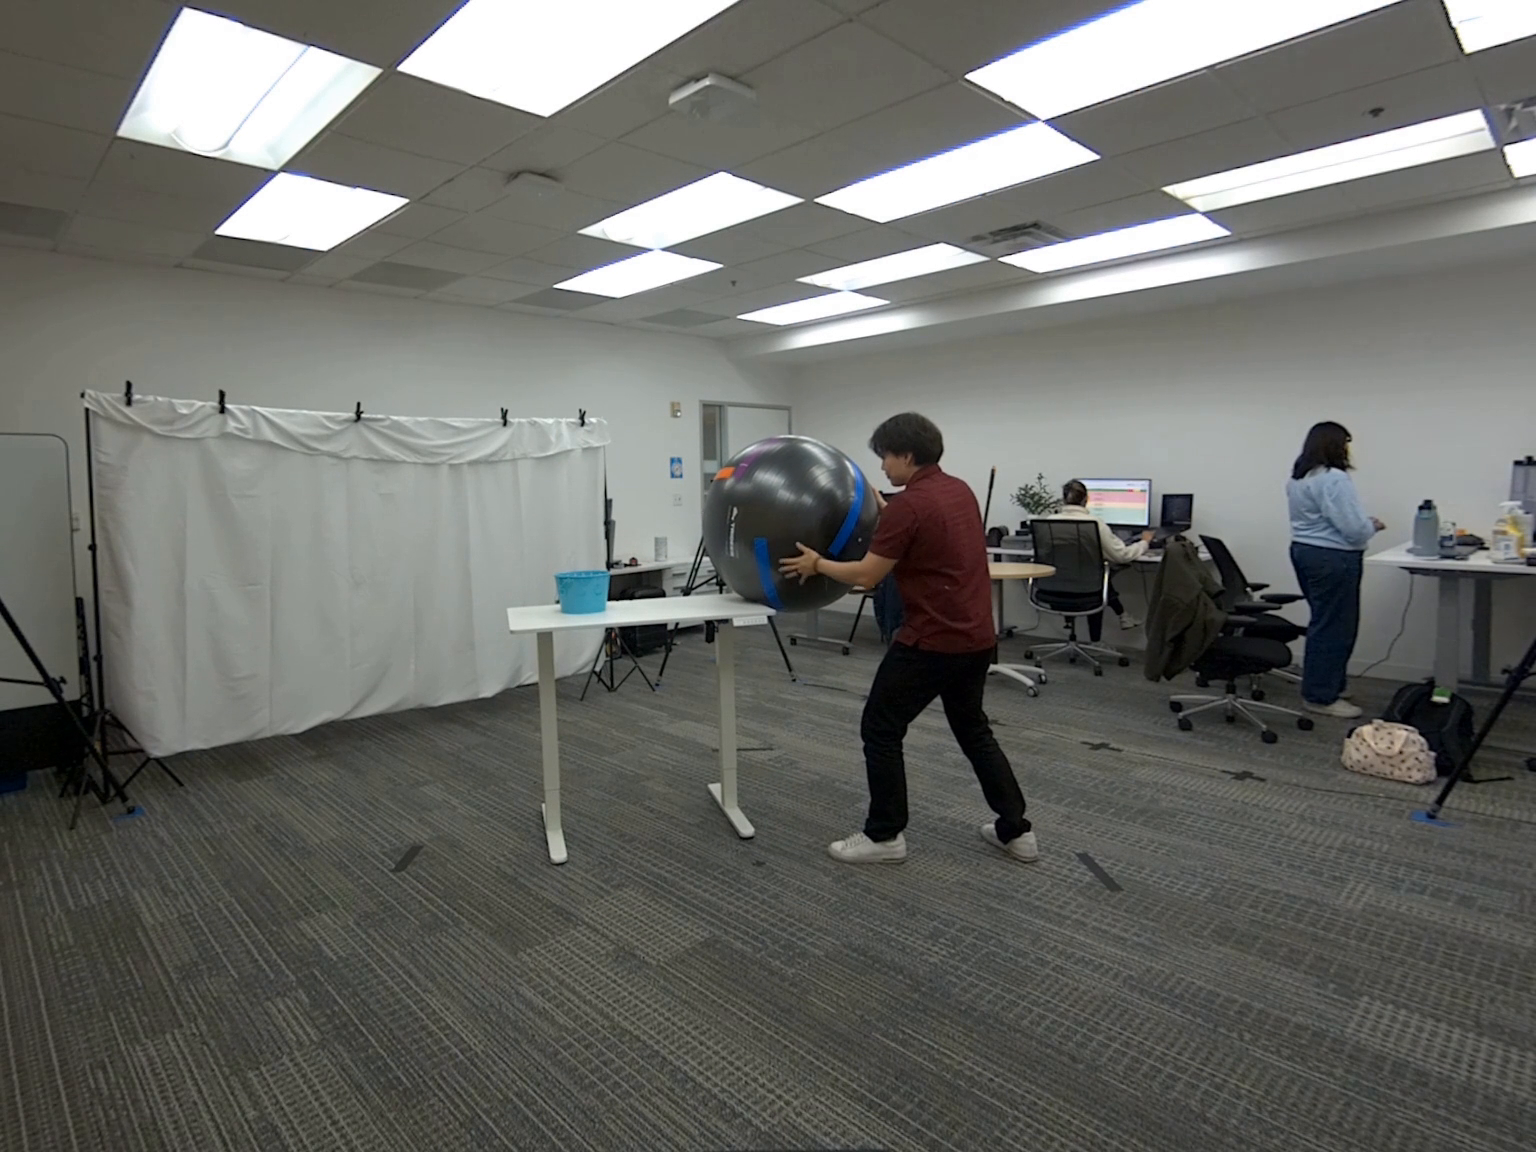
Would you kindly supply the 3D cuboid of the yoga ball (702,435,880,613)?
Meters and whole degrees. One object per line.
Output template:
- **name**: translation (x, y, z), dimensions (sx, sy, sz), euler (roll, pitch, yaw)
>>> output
- **yoga ball**: translation (0.095, -0.217, 3.674), dimensions (0.757, 0.755, 0.762), euler (-1, 5, -2)
